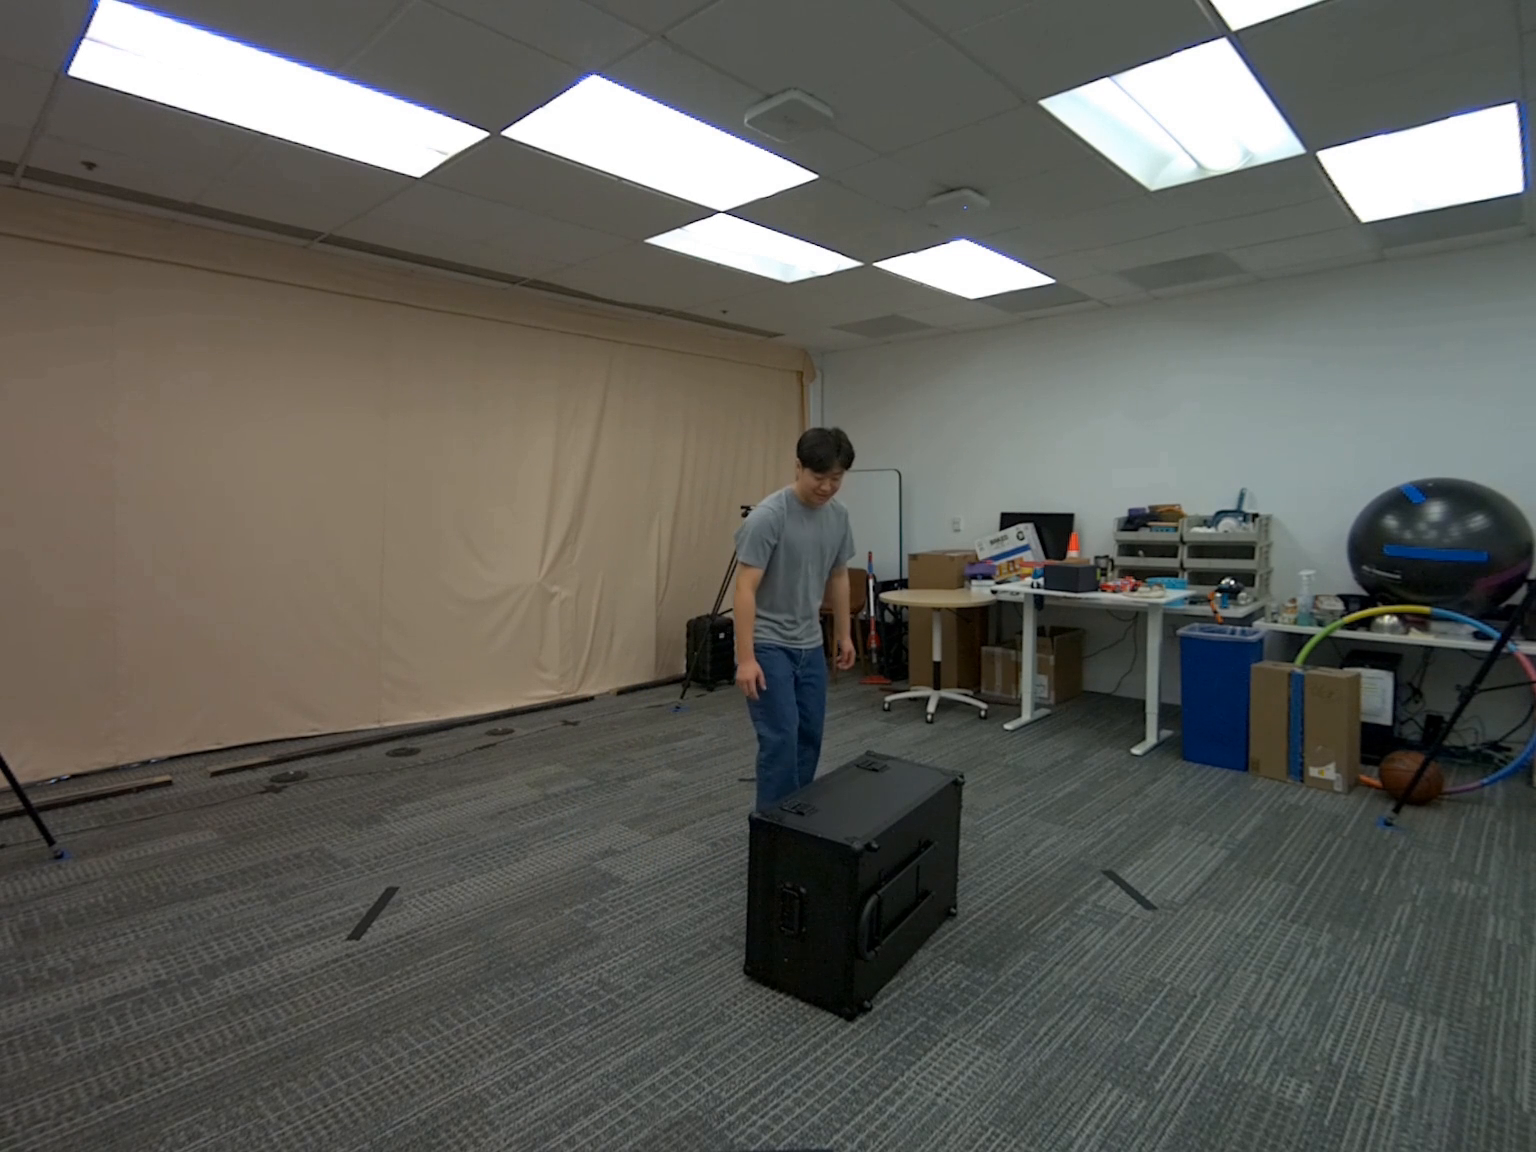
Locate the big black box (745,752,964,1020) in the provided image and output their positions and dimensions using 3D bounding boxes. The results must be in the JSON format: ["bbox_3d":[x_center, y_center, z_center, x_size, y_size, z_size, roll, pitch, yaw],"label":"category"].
[{"bbox_3d":[0.330,0.910,2.679,0.409,0.520,0.837,5,6,33],"label":"big black box"}]
